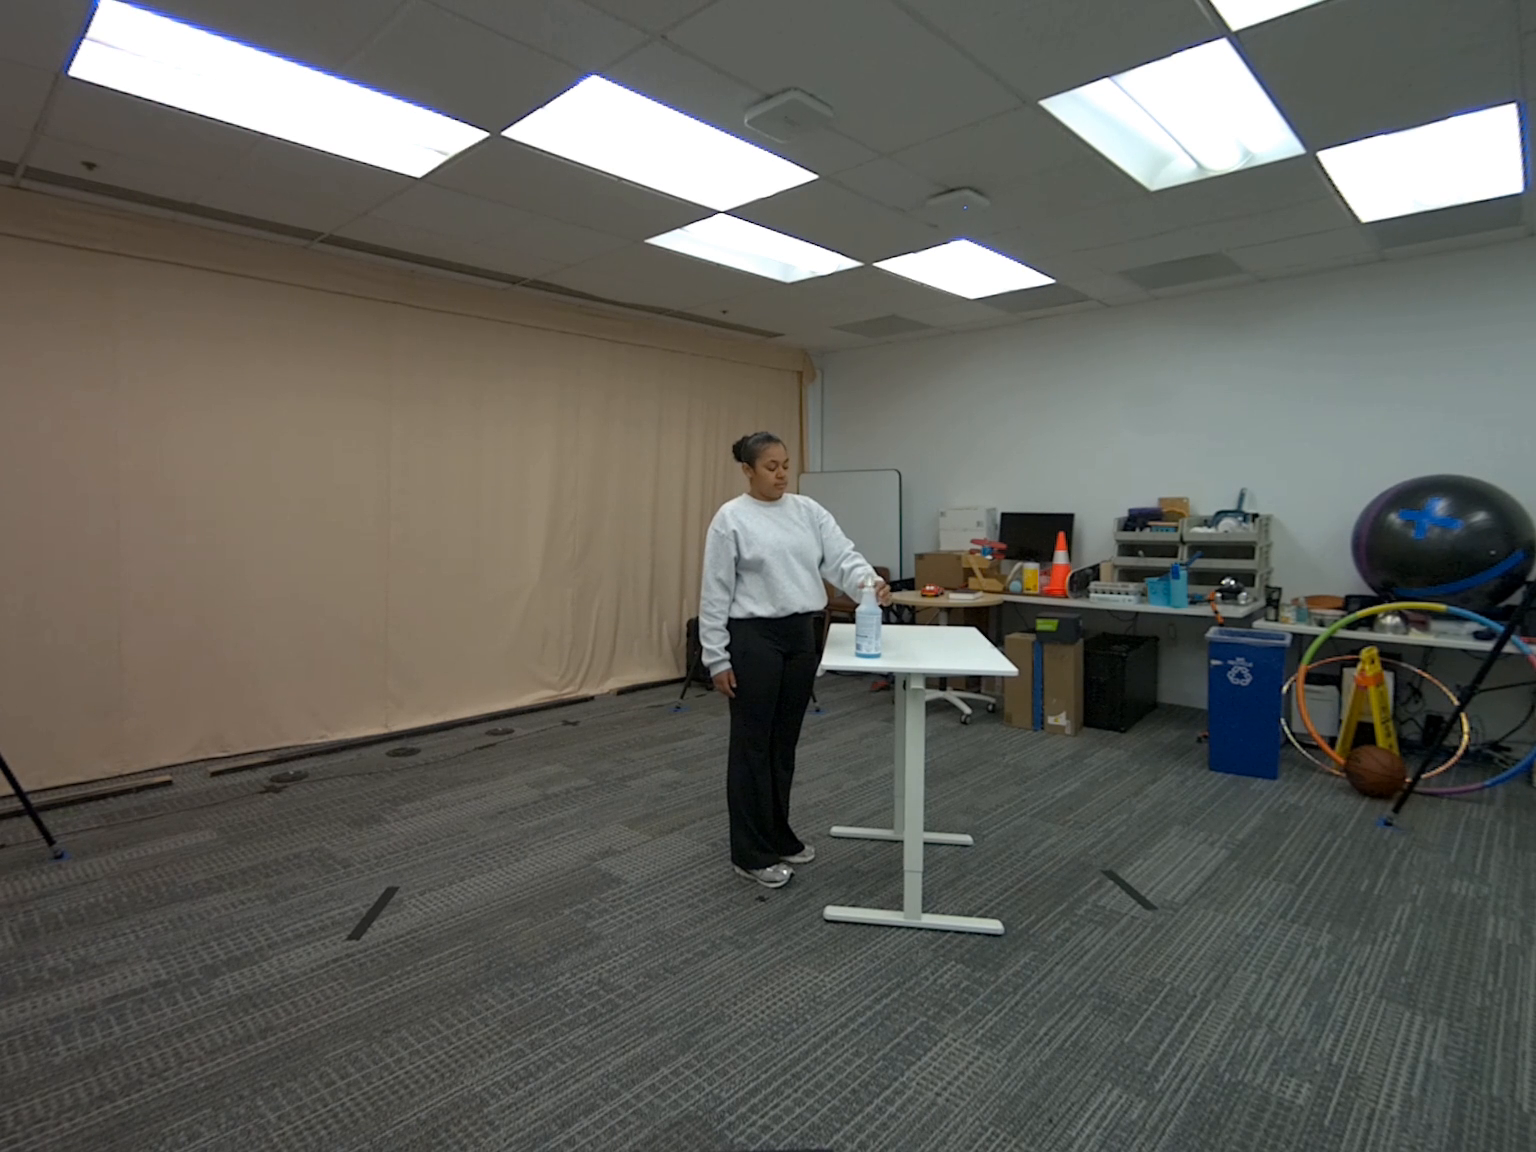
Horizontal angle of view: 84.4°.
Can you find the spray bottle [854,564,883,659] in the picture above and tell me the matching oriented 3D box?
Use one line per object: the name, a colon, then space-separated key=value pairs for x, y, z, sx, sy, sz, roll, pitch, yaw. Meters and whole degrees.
spray bottle: x=0.340 y=0.127 z=2.815 sx=0.089 sy=0.296 sz=0.088 roll=3 pitch=6 yaw=31
